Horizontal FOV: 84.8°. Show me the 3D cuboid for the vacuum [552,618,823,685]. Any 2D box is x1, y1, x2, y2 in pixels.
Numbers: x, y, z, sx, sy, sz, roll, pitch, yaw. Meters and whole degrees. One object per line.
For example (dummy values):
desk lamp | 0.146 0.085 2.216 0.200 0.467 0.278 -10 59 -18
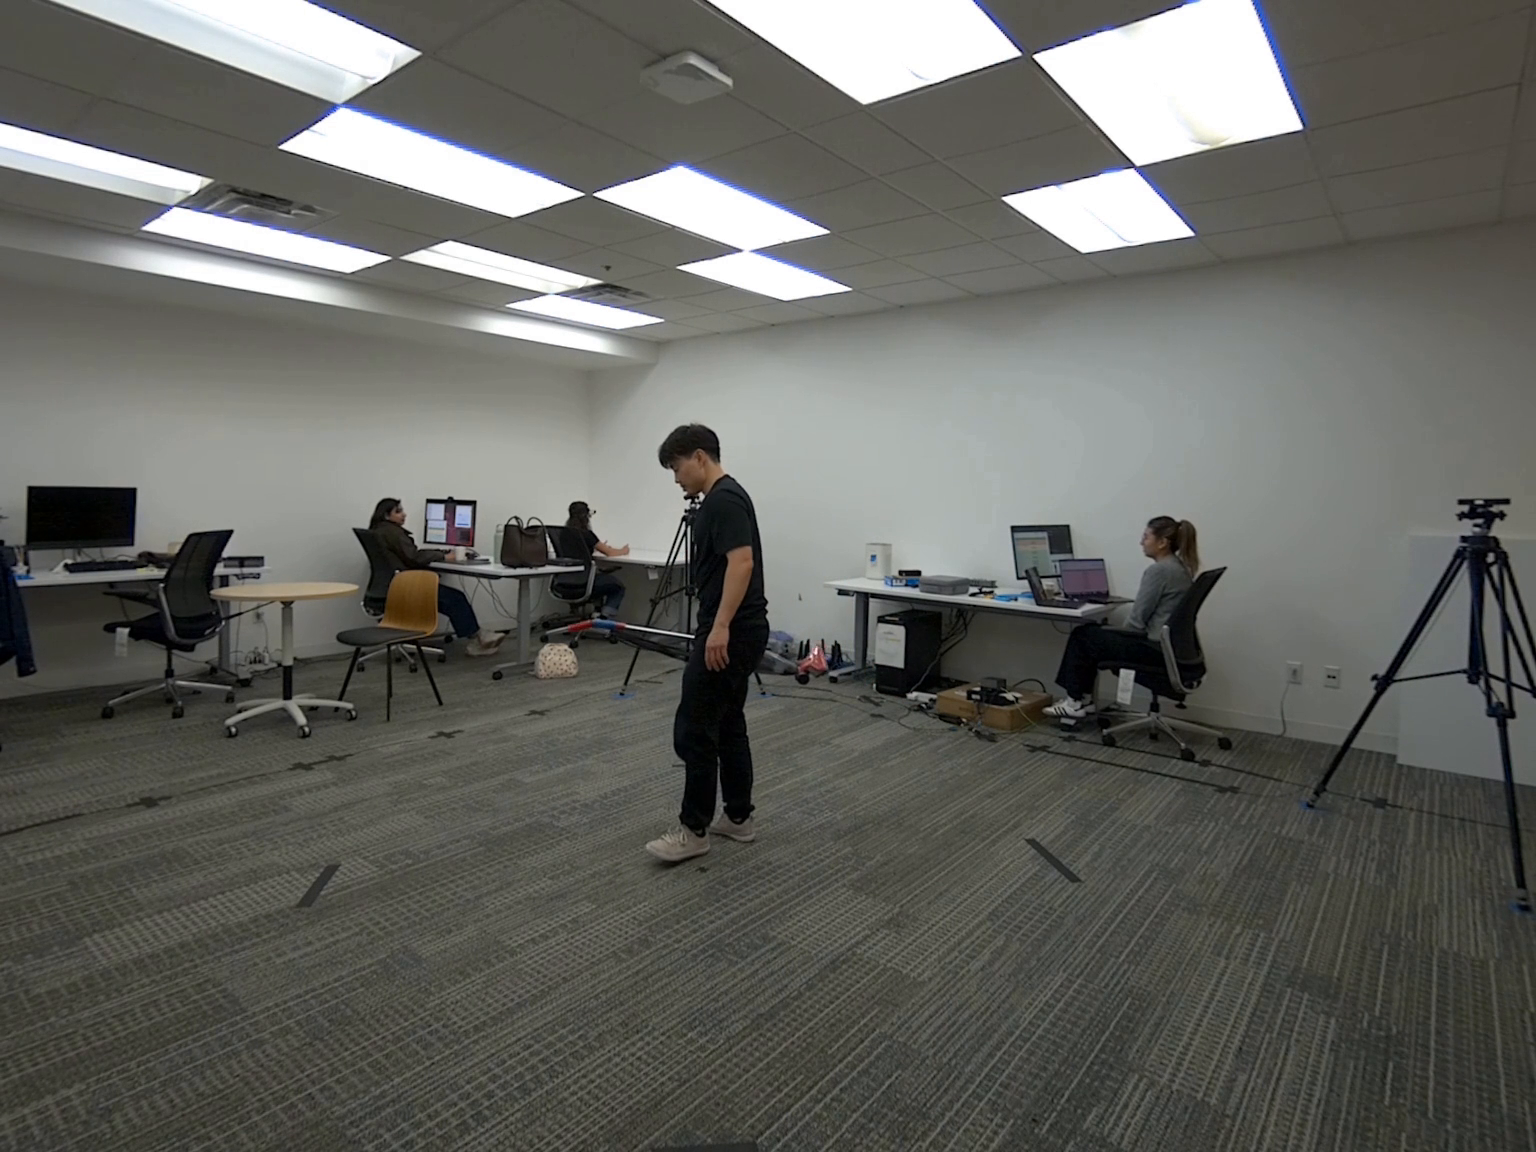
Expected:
vacuum | -0.342 0.299 3.616 1.044 0.142 0.257 10 16 -4
